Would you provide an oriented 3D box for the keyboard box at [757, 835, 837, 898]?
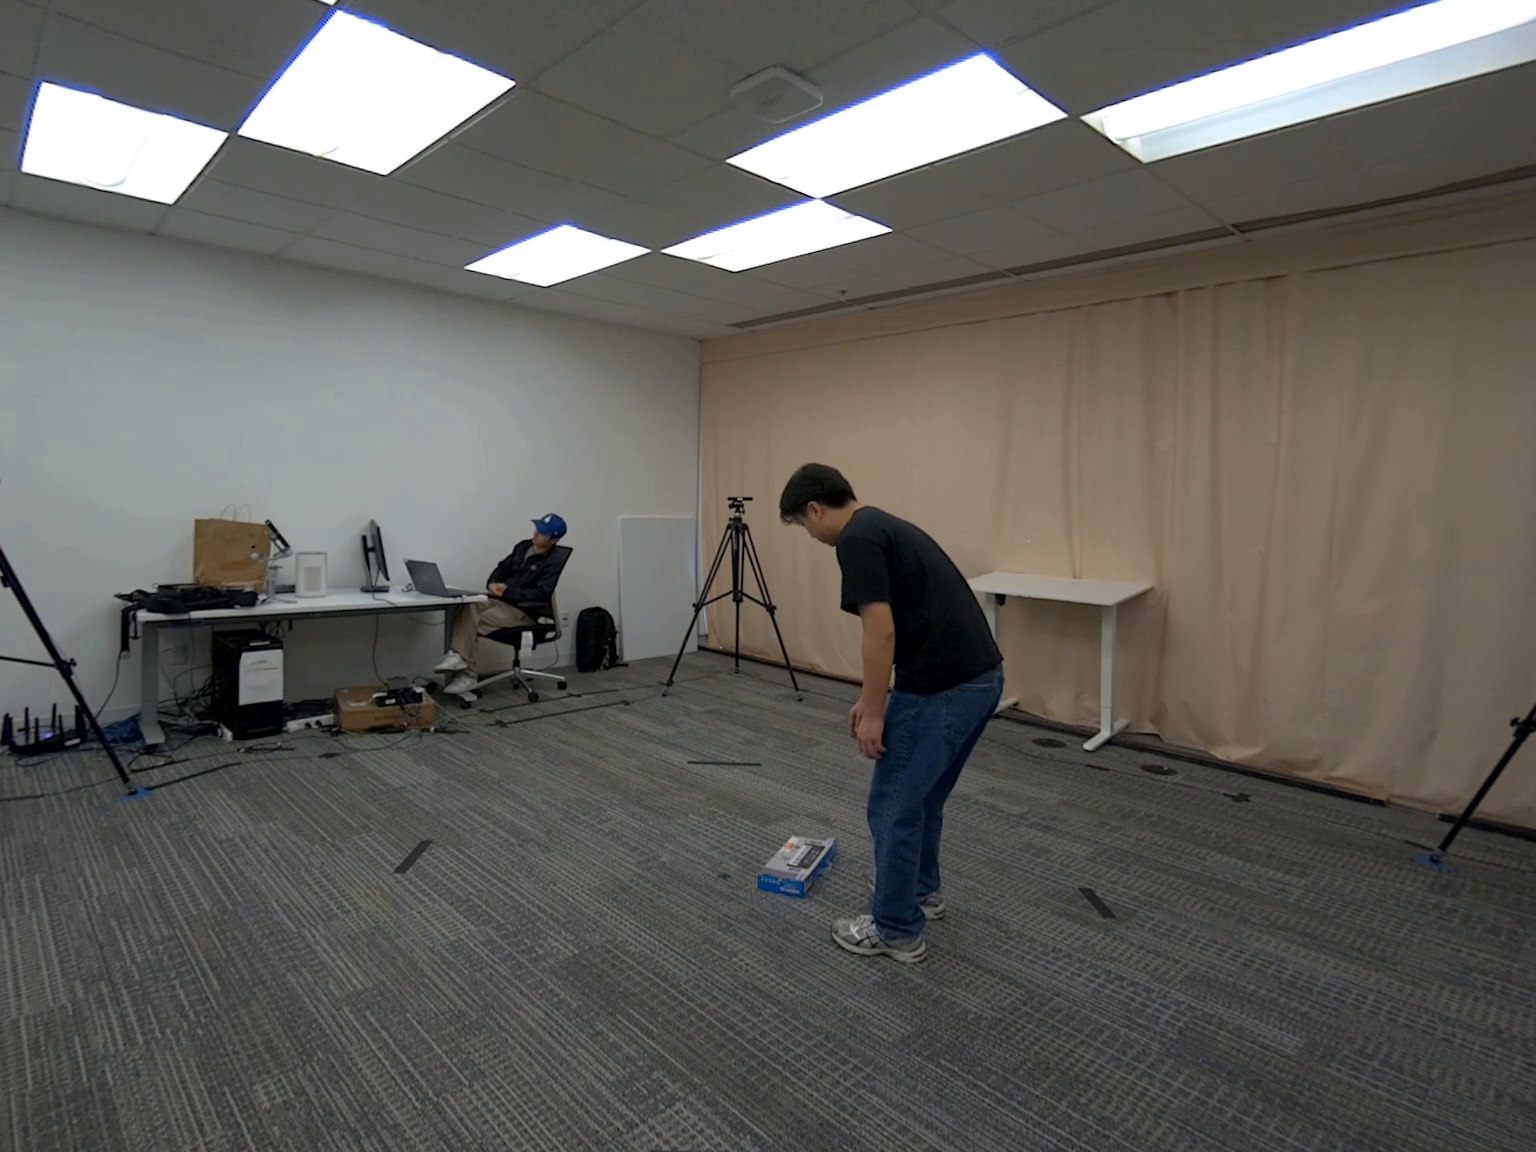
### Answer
[{"bbox_3d":[0.111,1.077,3.173,0.179,0.059,0.430,2,5,21],"label":"keyboard box"}]
